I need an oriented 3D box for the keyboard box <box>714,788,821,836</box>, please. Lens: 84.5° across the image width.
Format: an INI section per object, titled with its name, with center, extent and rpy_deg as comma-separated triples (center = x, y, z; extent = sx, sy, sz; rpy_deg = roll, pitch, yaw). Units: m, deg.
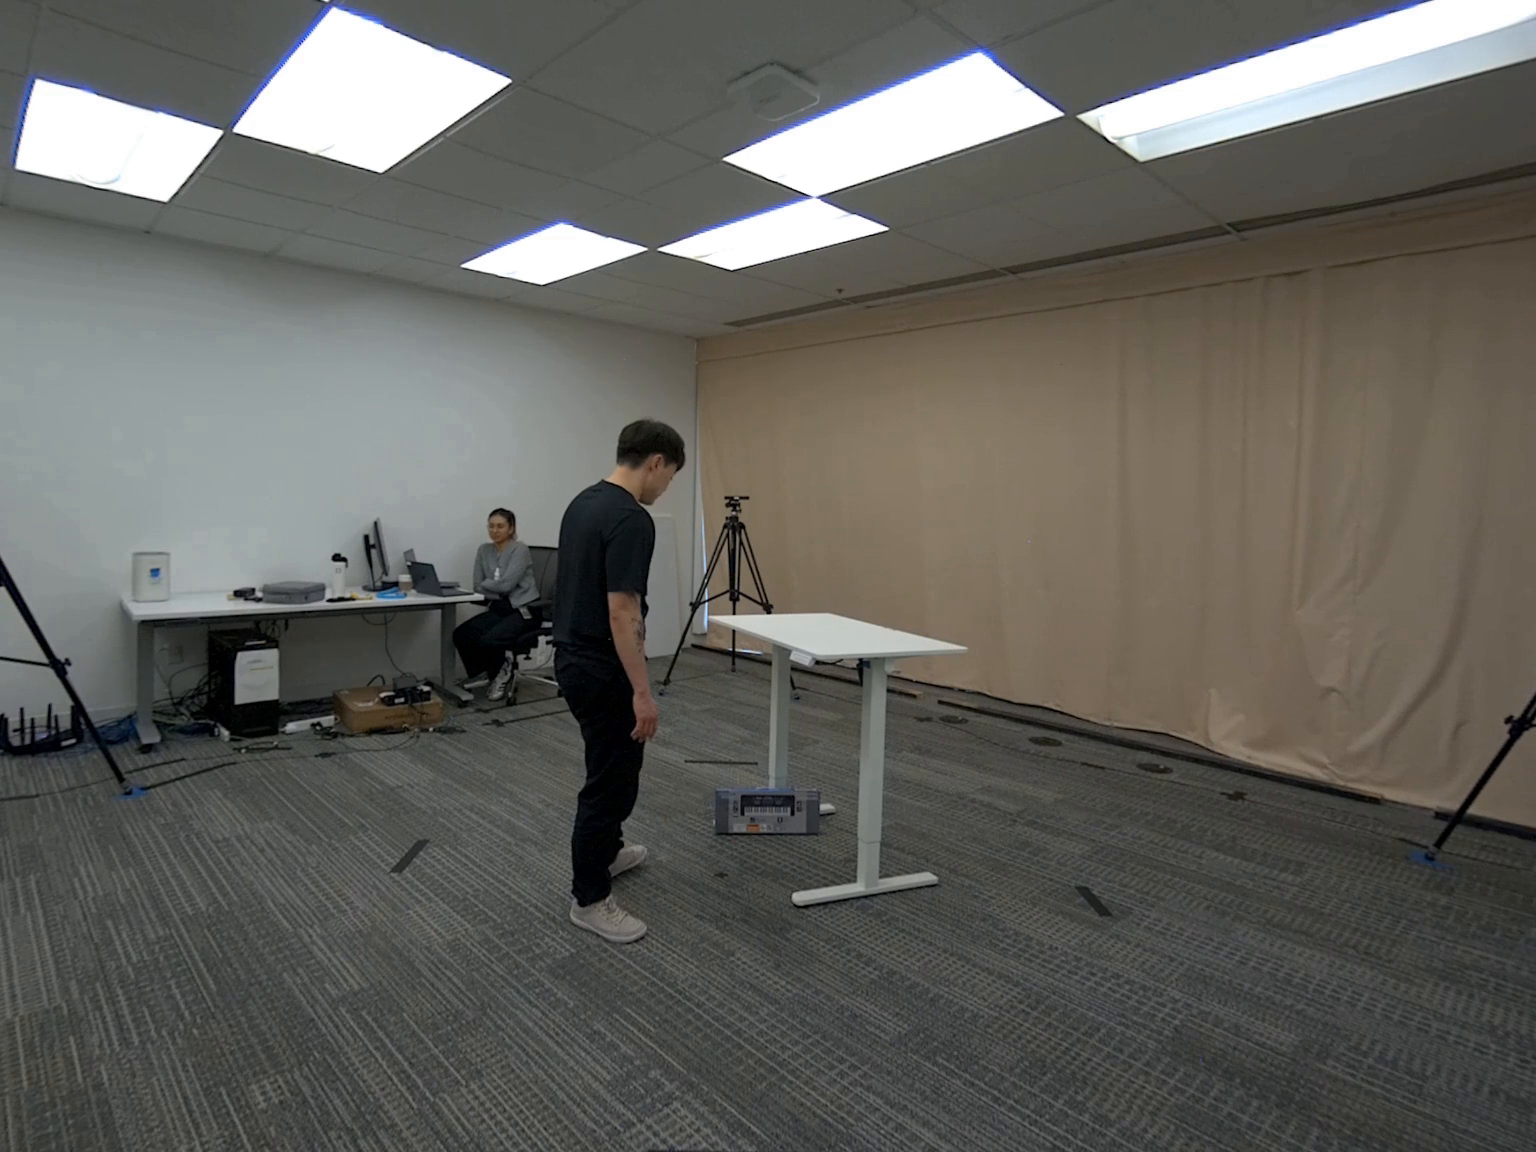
[keyboard box]
center = -0.011, 0.983, 3.518
extent = 0.435, 0.176, 0.059
rpy_deg = 1, -4, -4
